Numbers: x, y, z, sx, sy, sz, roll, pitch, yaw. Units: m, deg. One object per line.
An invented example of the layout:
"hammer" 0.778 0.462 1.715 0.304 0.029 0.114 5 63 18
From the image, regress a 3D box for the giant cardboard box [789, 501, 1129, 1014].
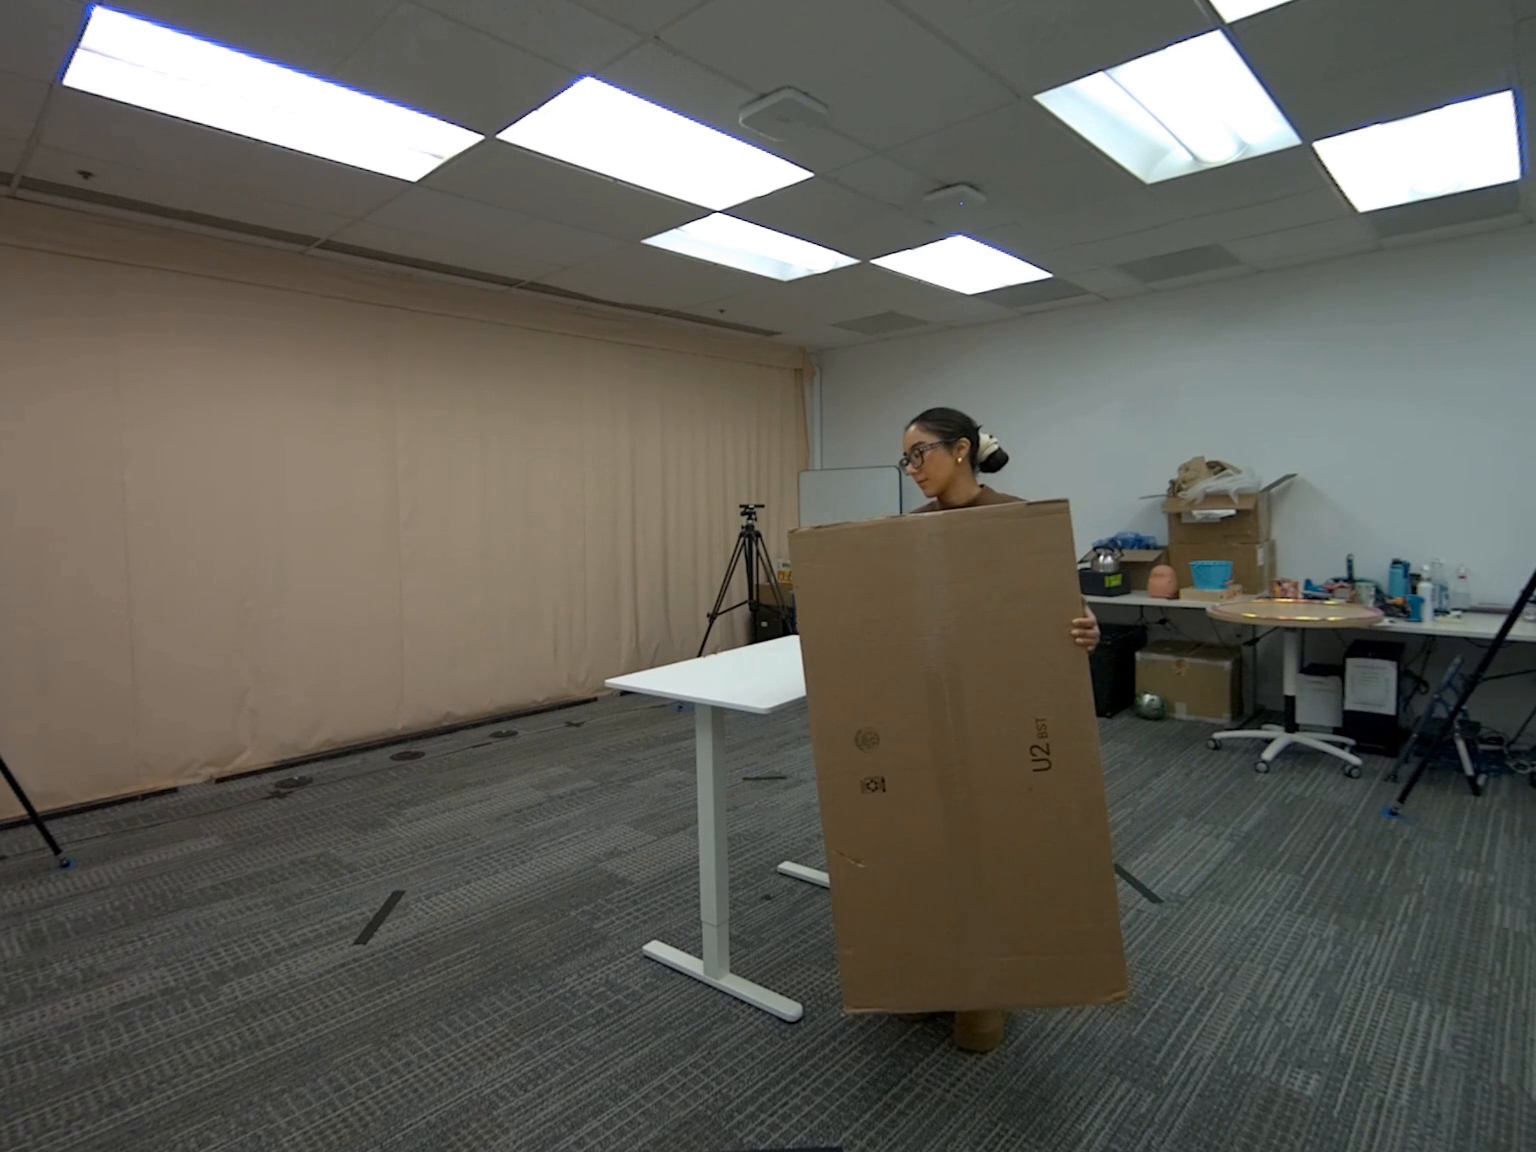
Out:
"giant cardboard box" 0.393 0.374 1.917 0.581 1.026 0.423 -6 0 6
